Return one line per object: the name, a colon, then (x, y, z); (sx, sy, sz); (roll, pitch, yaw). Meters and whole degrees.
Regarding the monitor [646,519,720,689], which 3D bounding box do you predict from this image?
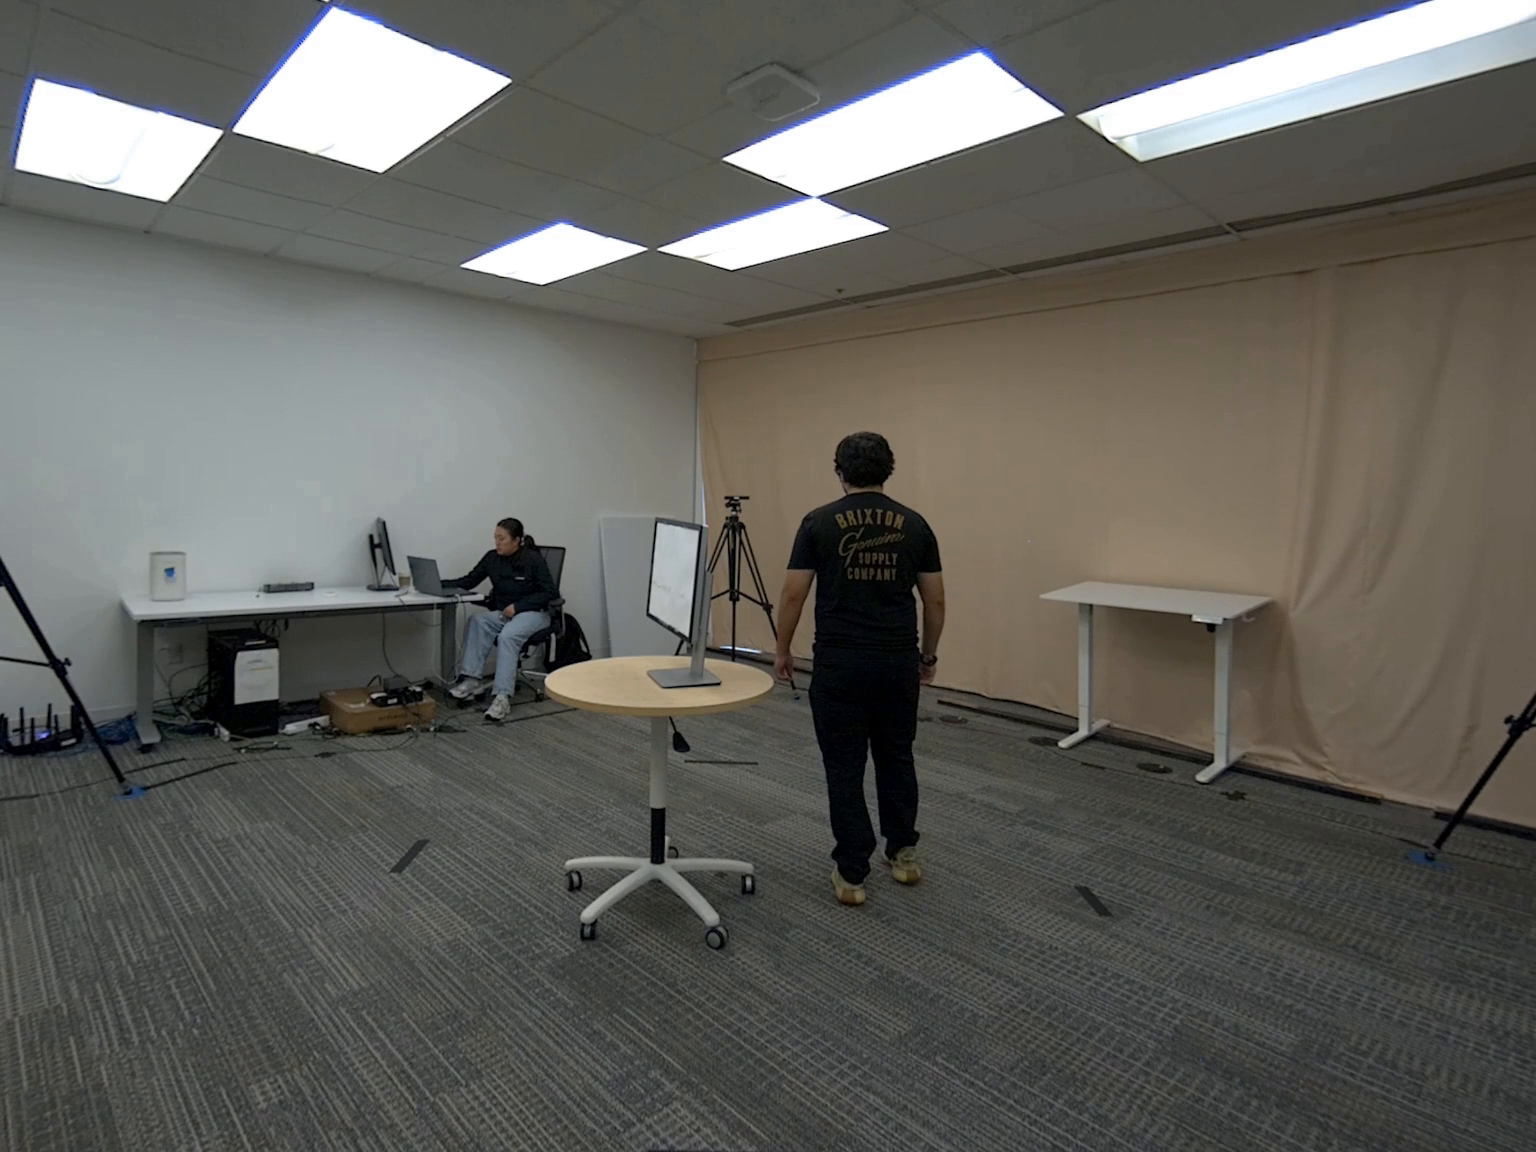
monitor: (-0.262, 0.087, 2.829); (0.207, 0.553, 0.576); (3, 4, -22)
